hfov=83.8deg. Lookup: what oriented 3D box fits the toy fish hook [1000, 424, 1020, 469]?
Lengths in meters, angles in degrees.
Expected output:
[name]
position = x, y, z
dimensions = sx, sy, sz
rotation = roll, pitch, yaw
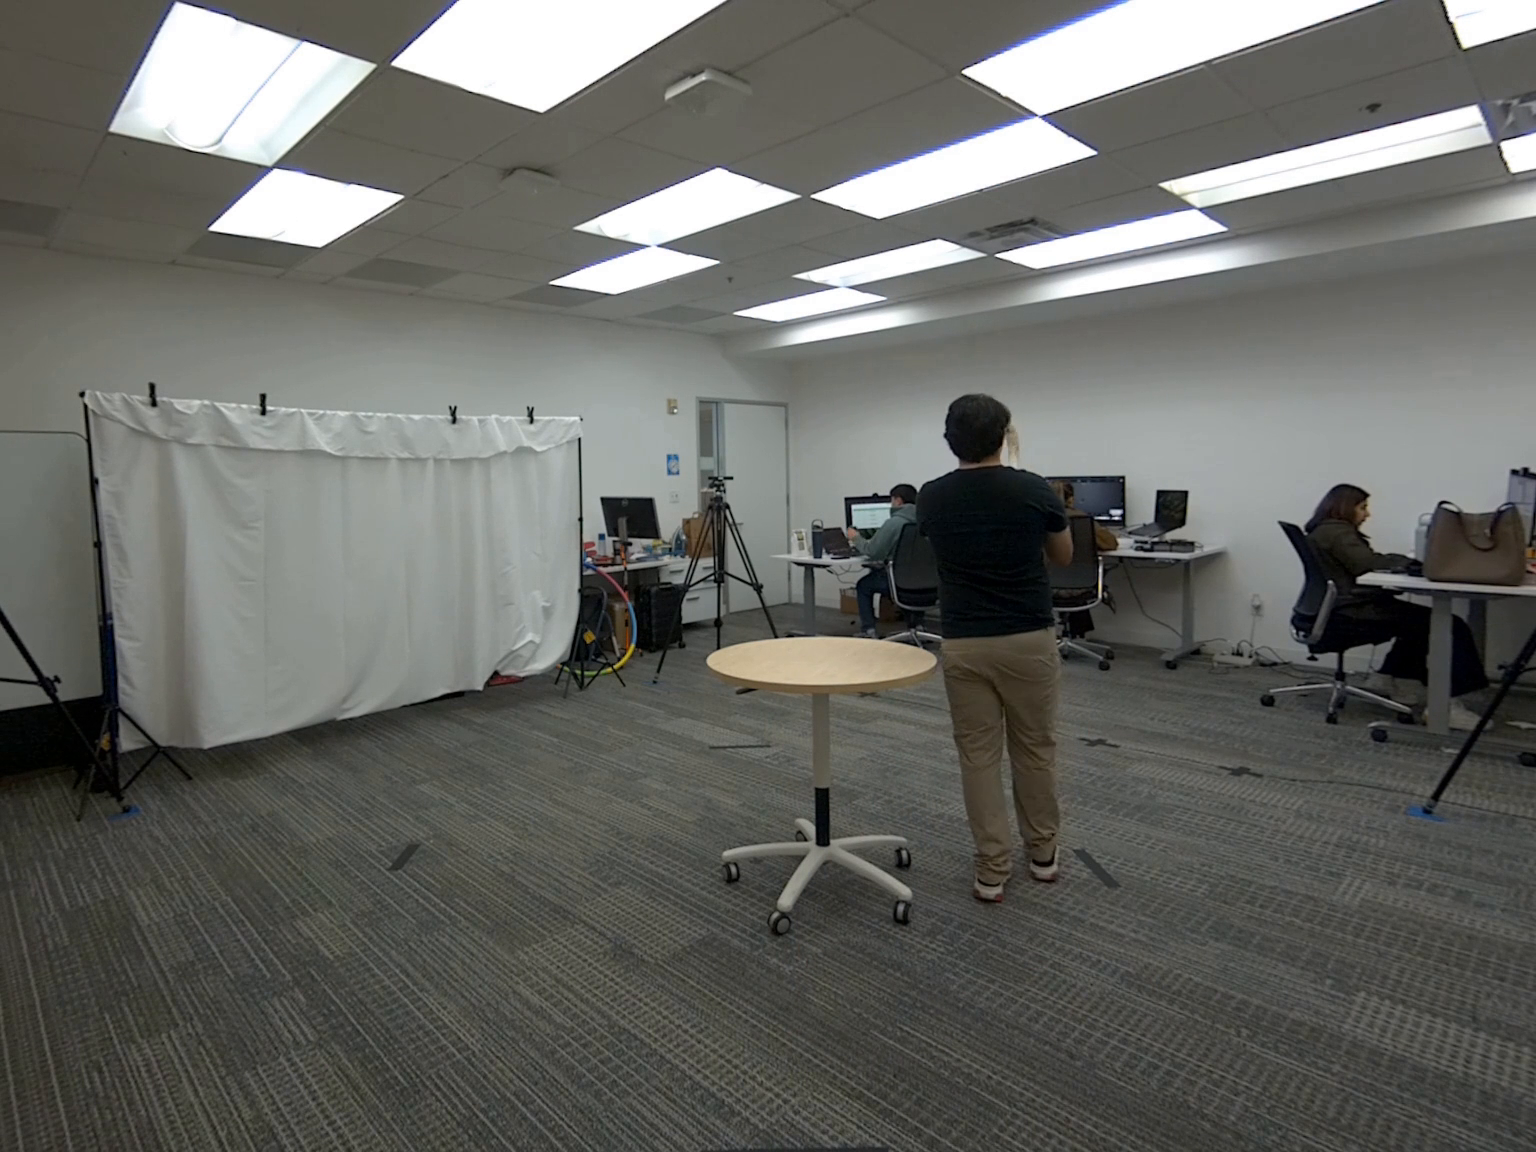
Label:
[toy fish hook]
position = 0.914, -0.368, 3.221
dimensions = 0.049, 0.513, 0.216
rotation = -10, -19, 38
